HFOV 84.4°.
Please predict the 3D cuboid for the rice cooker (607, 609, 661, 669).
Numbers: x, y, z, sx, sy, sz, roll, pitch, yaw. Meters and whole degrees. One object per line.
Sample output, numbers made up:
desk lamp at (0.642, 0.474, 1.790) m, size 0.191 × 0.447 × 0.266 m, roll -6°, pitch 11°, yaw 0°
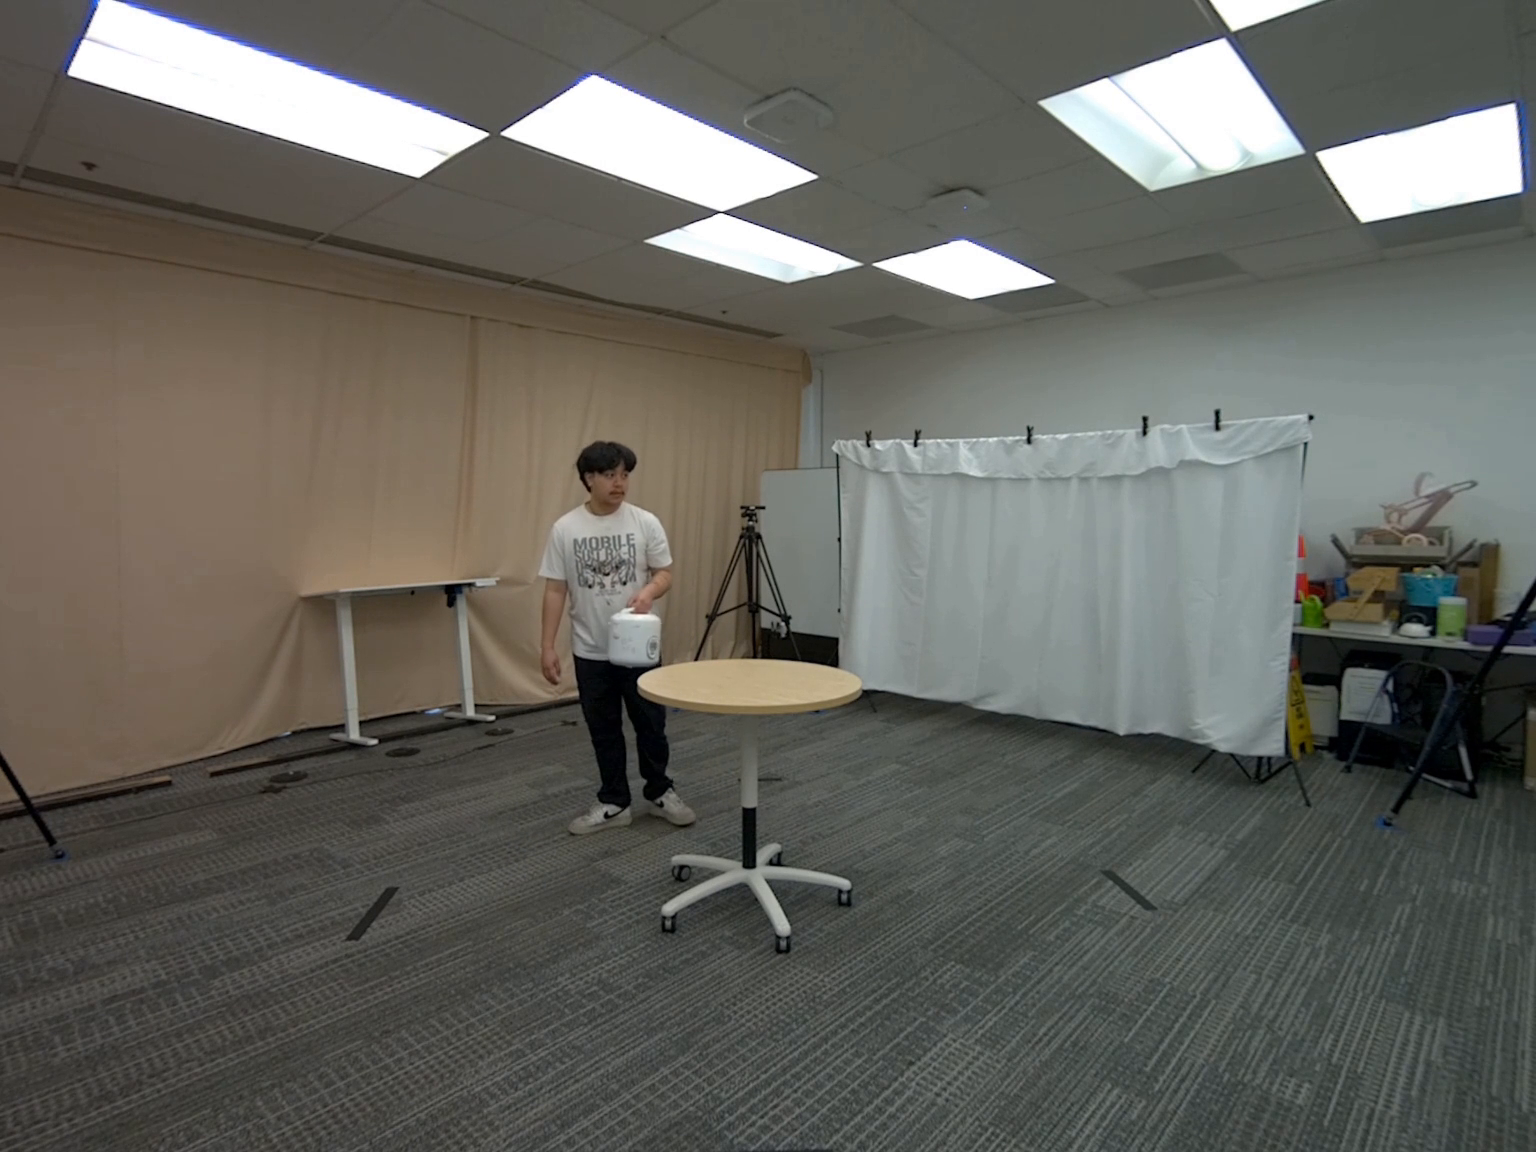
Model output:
rice cooker at (-0.531, 0.243, 3.392) m, size 0.224 × 0.233 × 0.213 m, roll 1°, pitch -3°, yaw 40°
